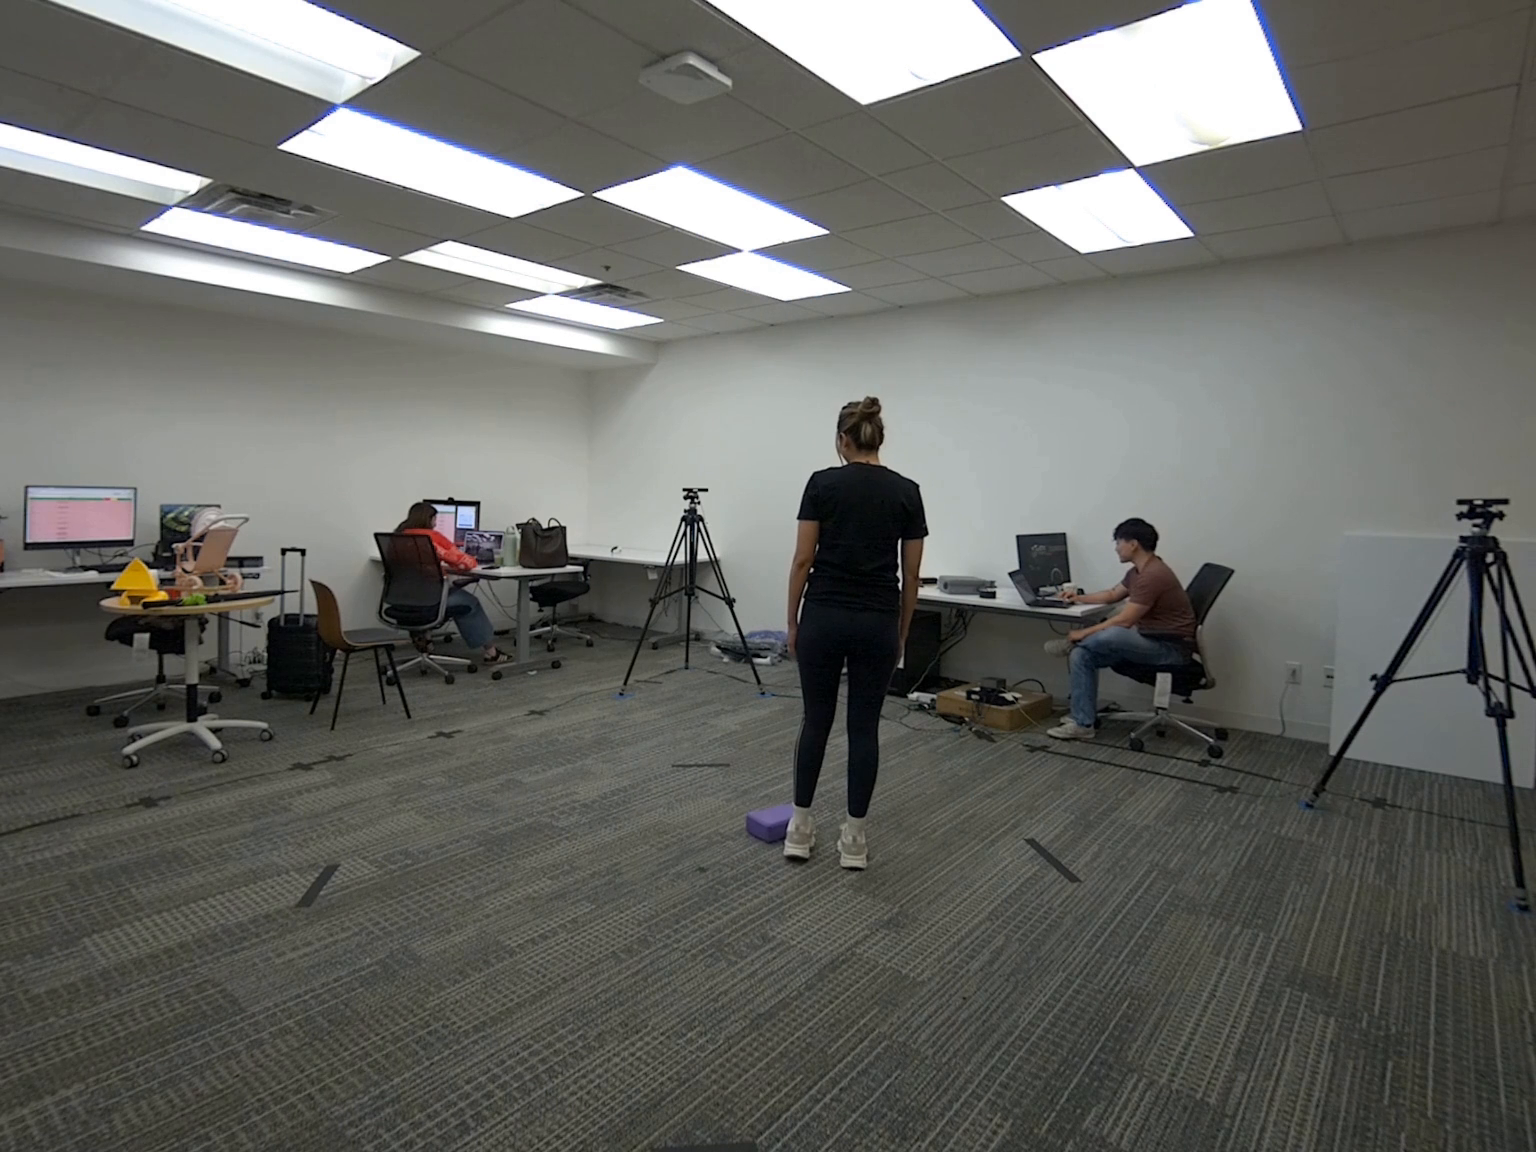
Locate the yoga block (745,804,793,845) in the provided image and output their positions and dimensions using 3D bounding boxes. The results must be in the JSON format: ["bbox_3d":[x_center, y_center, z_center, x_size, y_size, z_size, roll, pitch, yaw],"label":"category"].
[{"bbox_3d":[0.028,0.997,3.469,0.223,0.076,0.154,-4,7,-37],"label":"yoga block"}]
